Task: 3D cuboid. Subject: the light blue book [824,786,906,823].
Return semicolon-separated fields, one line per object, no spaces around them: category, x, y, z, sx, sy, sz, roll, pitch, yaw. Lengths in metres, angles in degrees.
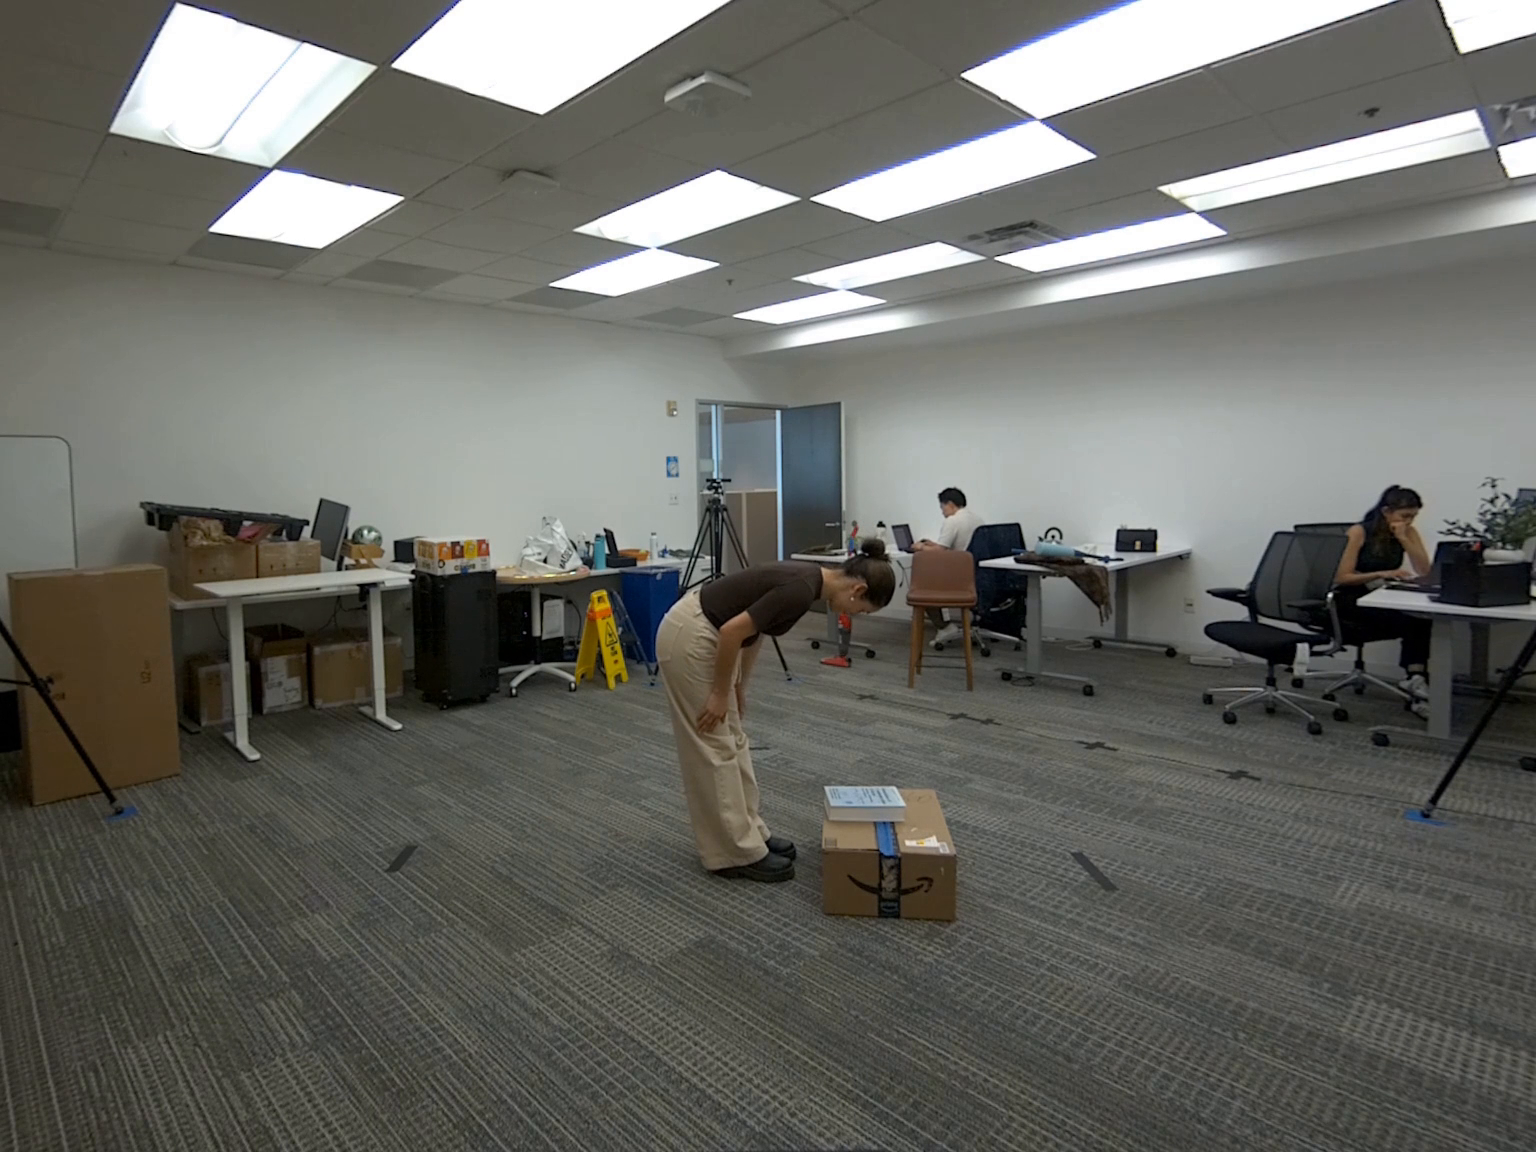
light blue book;0.337;0.798;3.027;0.261;0.059;0.192;0;7;-1
